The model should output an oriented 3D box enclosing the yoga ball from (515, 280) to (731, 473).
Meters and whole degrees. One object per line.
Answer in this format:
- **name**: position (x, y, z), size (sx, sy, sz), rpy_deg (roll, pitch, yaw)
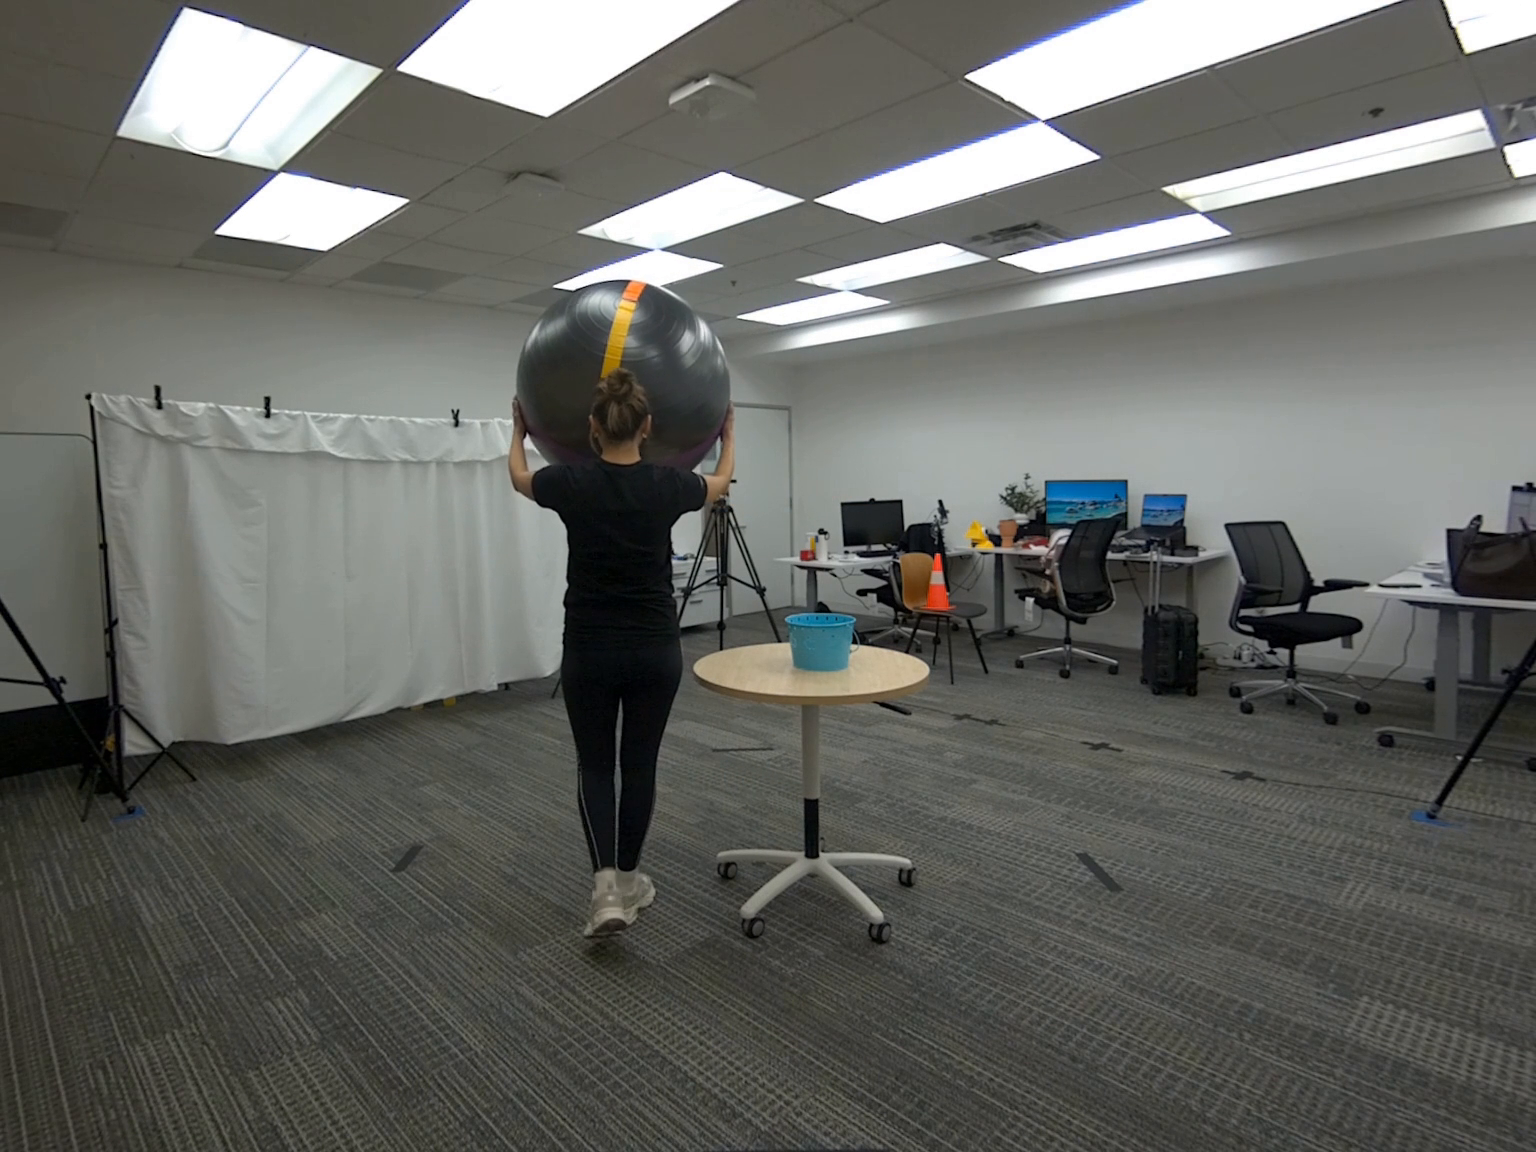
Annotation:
- **yoga ball**: position (-0.504, -0.661, 3.048), size (0.757, 0.755, 0.762), rpy_deg (-1, 5, -2)
